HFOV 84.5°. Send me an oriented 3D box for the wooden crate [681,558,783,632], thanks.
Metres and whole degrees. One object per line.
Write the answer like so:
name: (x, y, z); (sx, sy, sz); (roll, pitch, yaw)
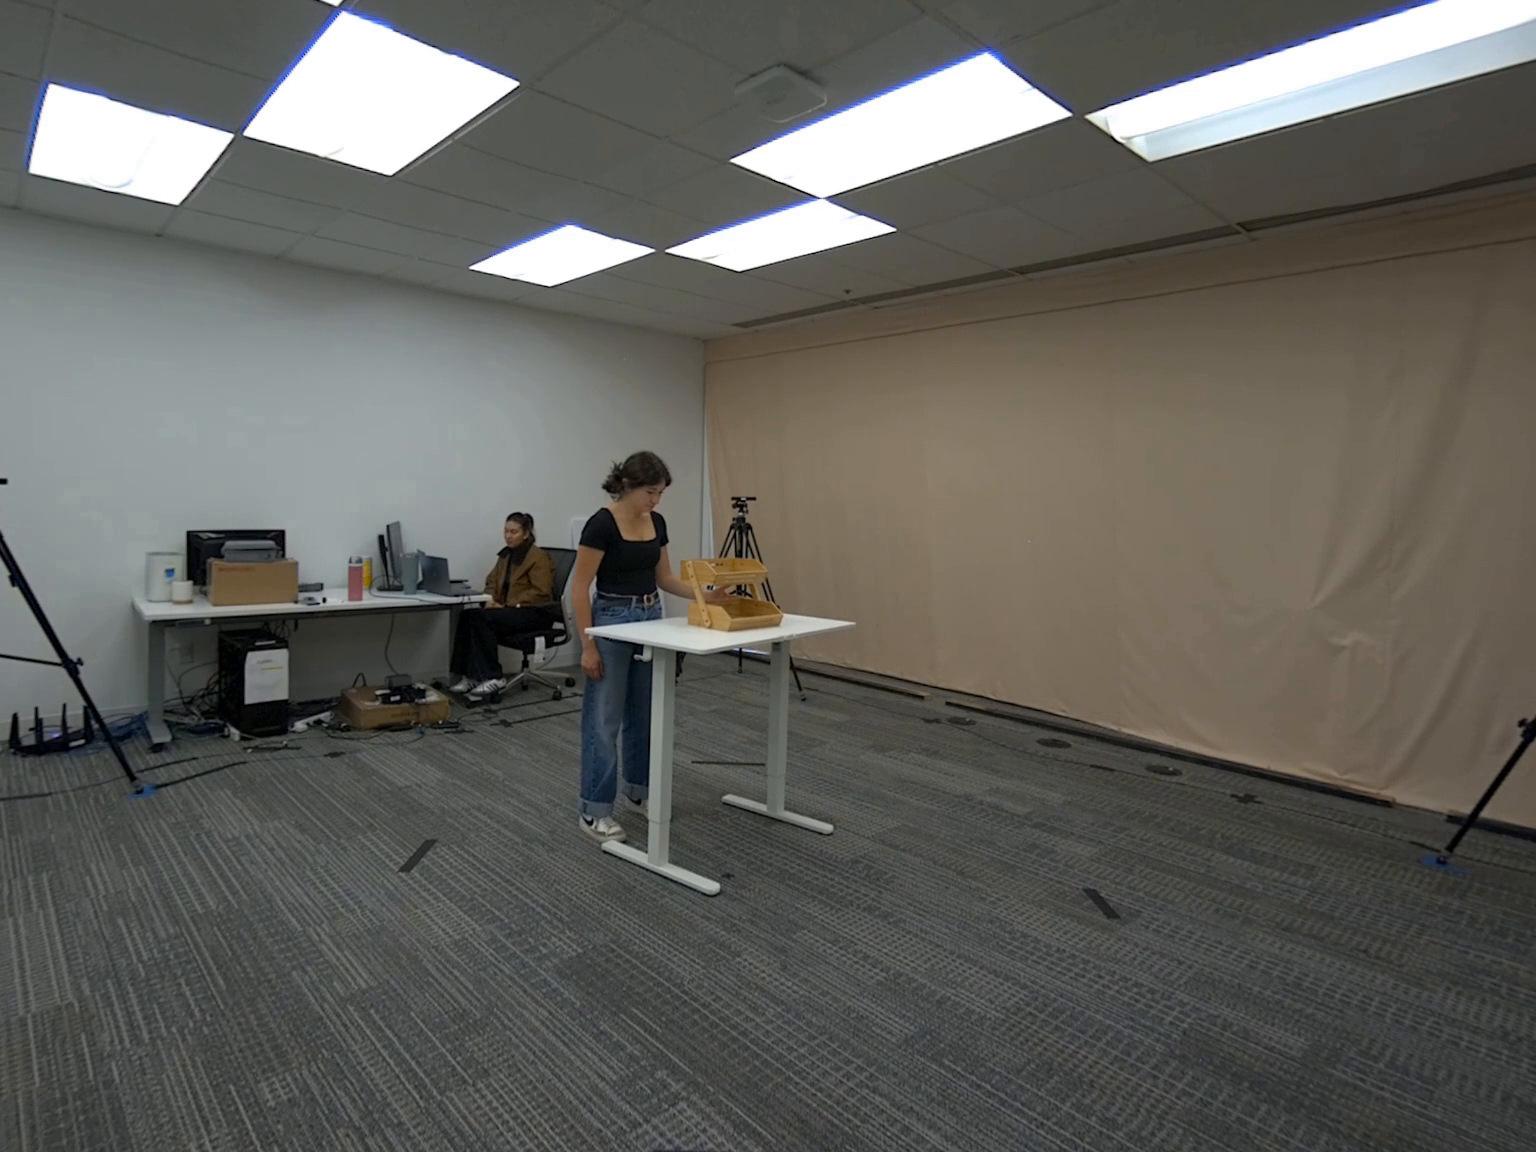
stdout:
wooden crate: (-0.155, 0.065, 3.415); (0.310, 0.273, 0.317); (5, 5, 43)
